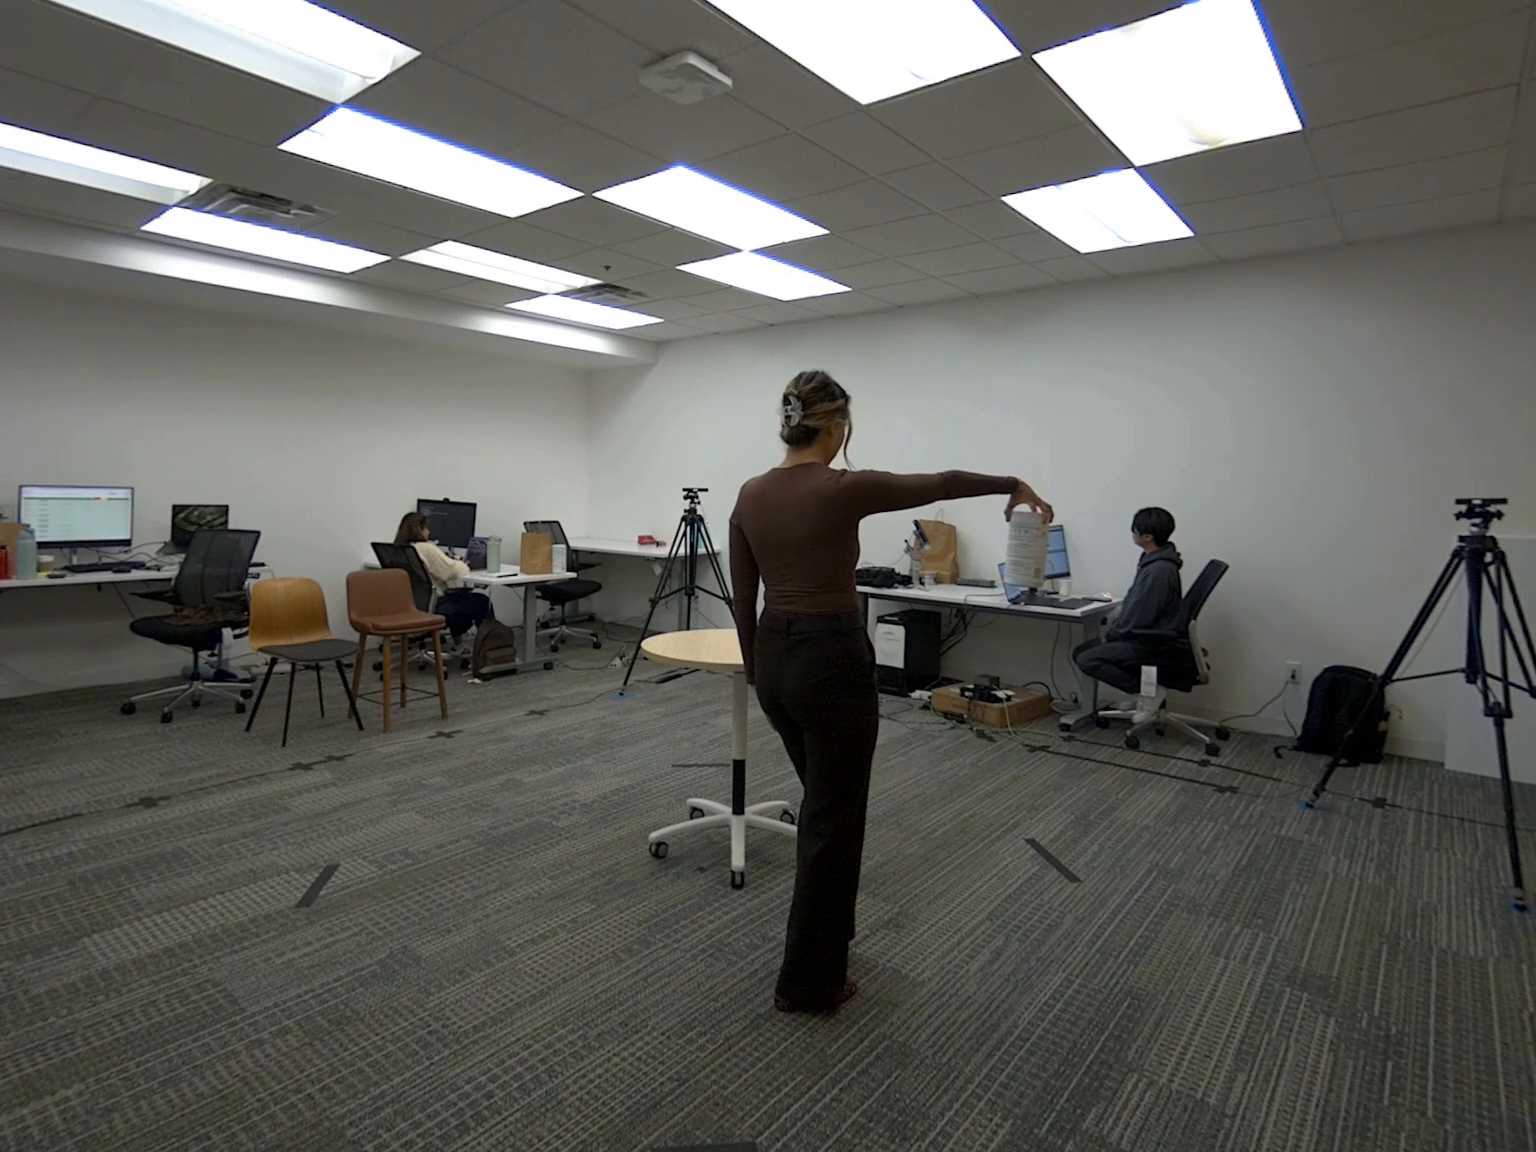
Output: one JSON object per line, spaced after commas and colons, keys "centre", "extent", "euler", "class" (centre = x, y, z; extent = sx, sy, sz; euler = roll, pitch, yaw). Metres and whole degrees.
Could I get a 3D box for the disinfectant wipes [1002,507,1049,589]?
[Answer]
{"centre": [0.746, -0.080, 2.461], "extent": [0.117, 0.217, 0.118], "euler": [4, 2, -2], "class": "disinfectant wipes"}
